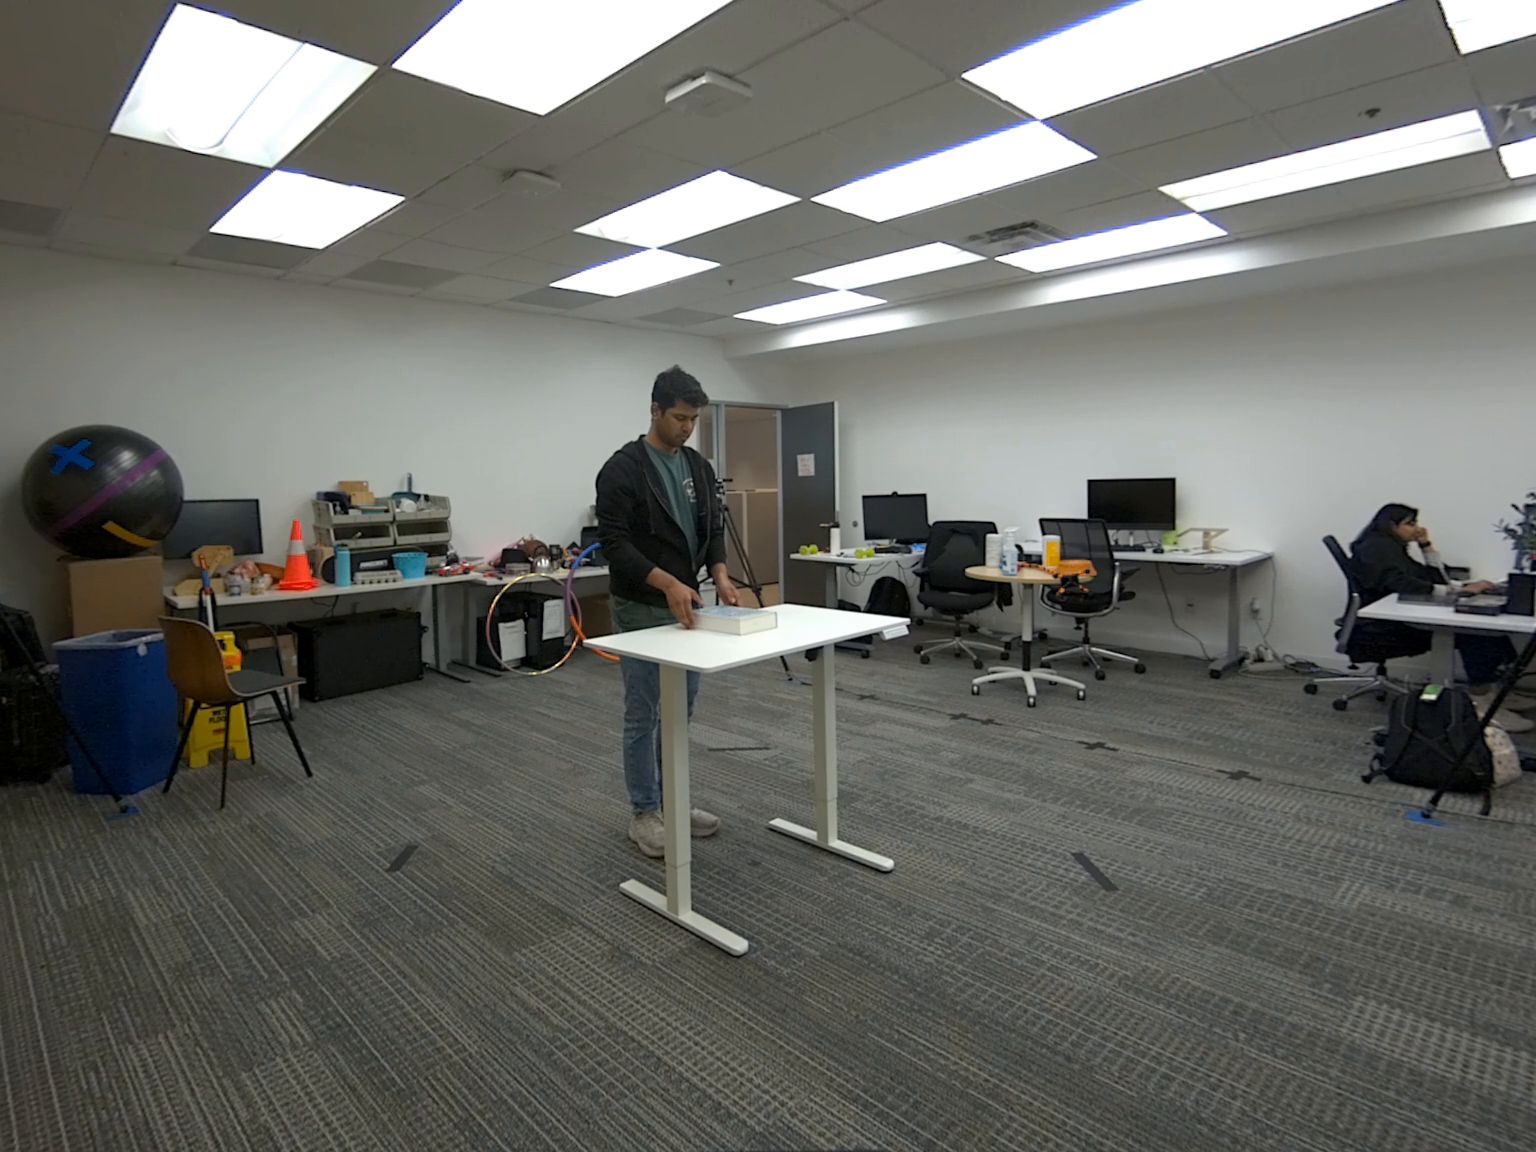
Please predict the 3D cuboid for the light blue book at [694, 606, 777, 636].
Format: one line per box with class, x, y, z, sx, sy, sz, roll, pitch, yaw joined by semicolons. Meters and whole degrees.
light blue book;-0.130;0.157;2.956;0.269;0.059;0.186;5;9;44
